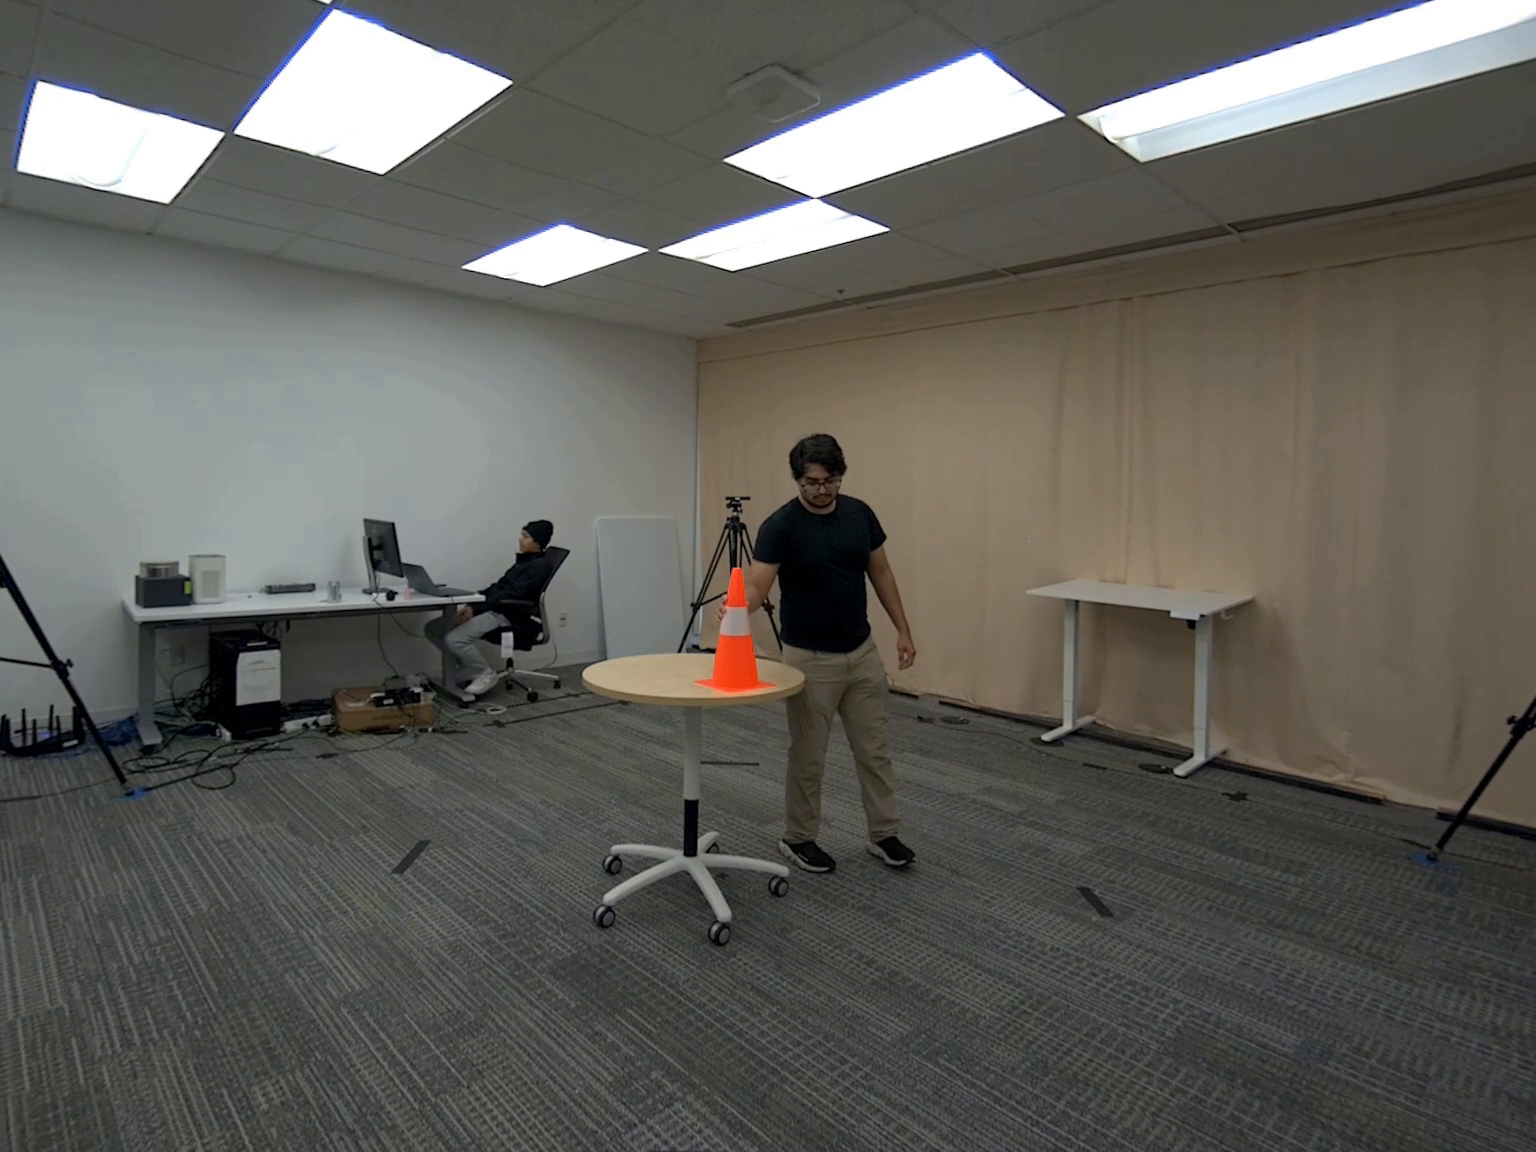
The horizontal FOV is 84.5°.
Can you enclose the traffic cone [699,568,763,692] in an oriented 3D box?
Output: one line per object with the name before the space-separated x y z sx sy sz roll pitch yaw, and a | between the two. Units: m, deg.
traffic cone | -0.104 0.169 2.737 0.208 0.383 0.200 3 3 43
